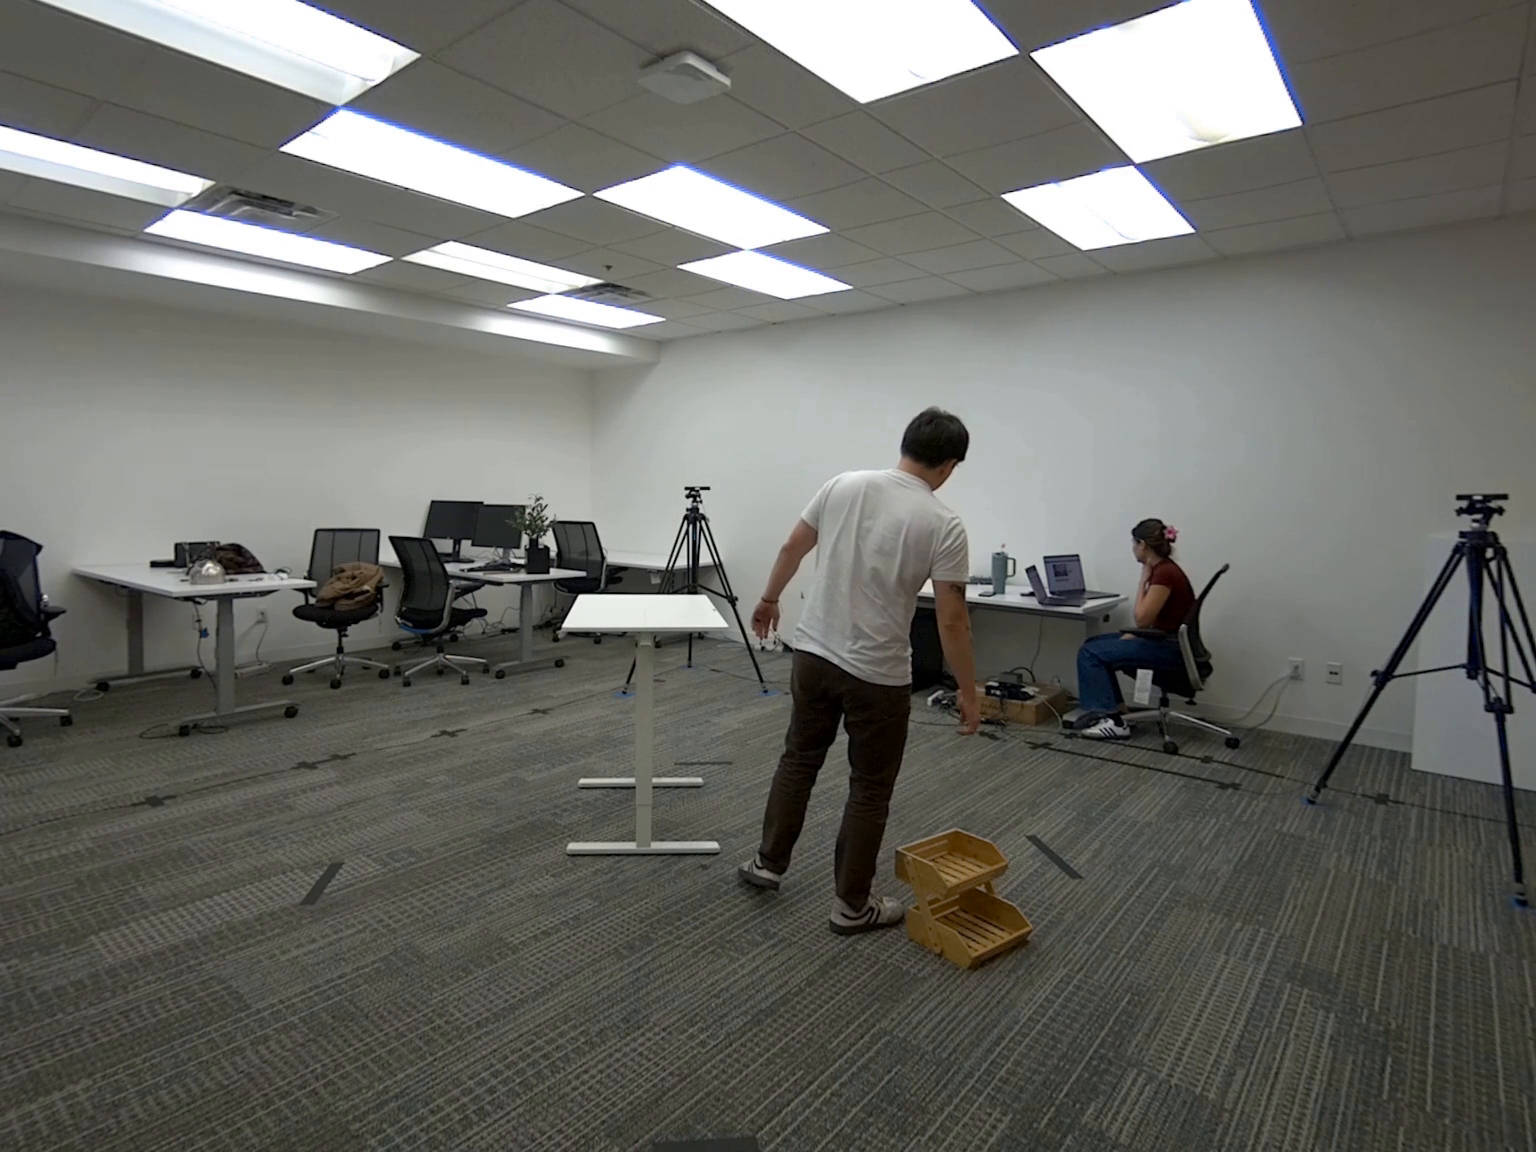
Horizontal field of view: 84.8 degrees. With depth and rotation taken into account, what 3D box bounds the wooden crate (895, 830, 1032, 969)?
[{"bbox_3d":[0.613,0.997,2.655,0.315,0.272,0.312,-2,4,-37],"label":"wooden crate"}]
